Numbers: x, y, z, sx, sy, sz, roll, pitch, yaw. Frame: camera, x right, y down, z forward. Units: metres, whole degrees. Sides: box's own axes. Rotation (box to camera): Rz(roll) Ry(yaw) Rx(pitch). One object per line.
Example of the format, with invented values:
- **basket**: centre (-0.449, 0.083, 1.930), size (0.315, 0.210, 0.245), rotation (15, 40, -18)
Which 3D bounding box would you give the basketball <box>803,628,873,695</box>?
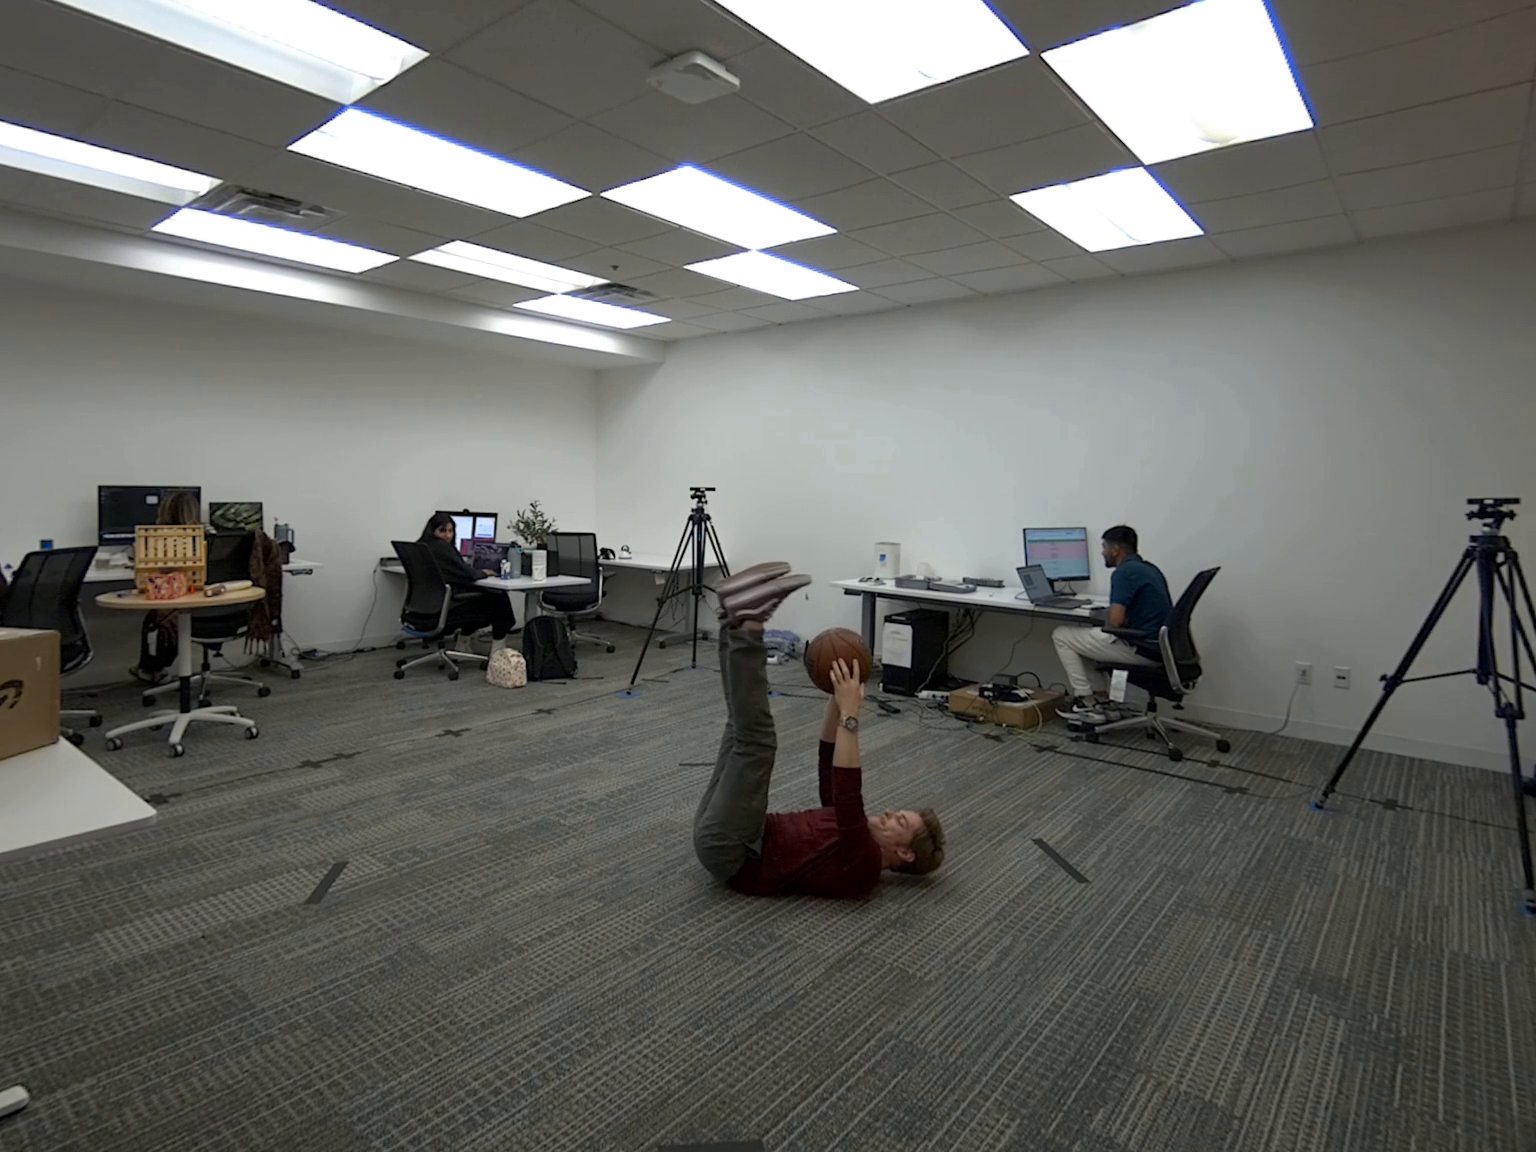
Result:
- **basketball**: centre (0.250, 0.300, 3.034), size (0.235, 0.235, 0.237), rotation (1, 4, -2)
